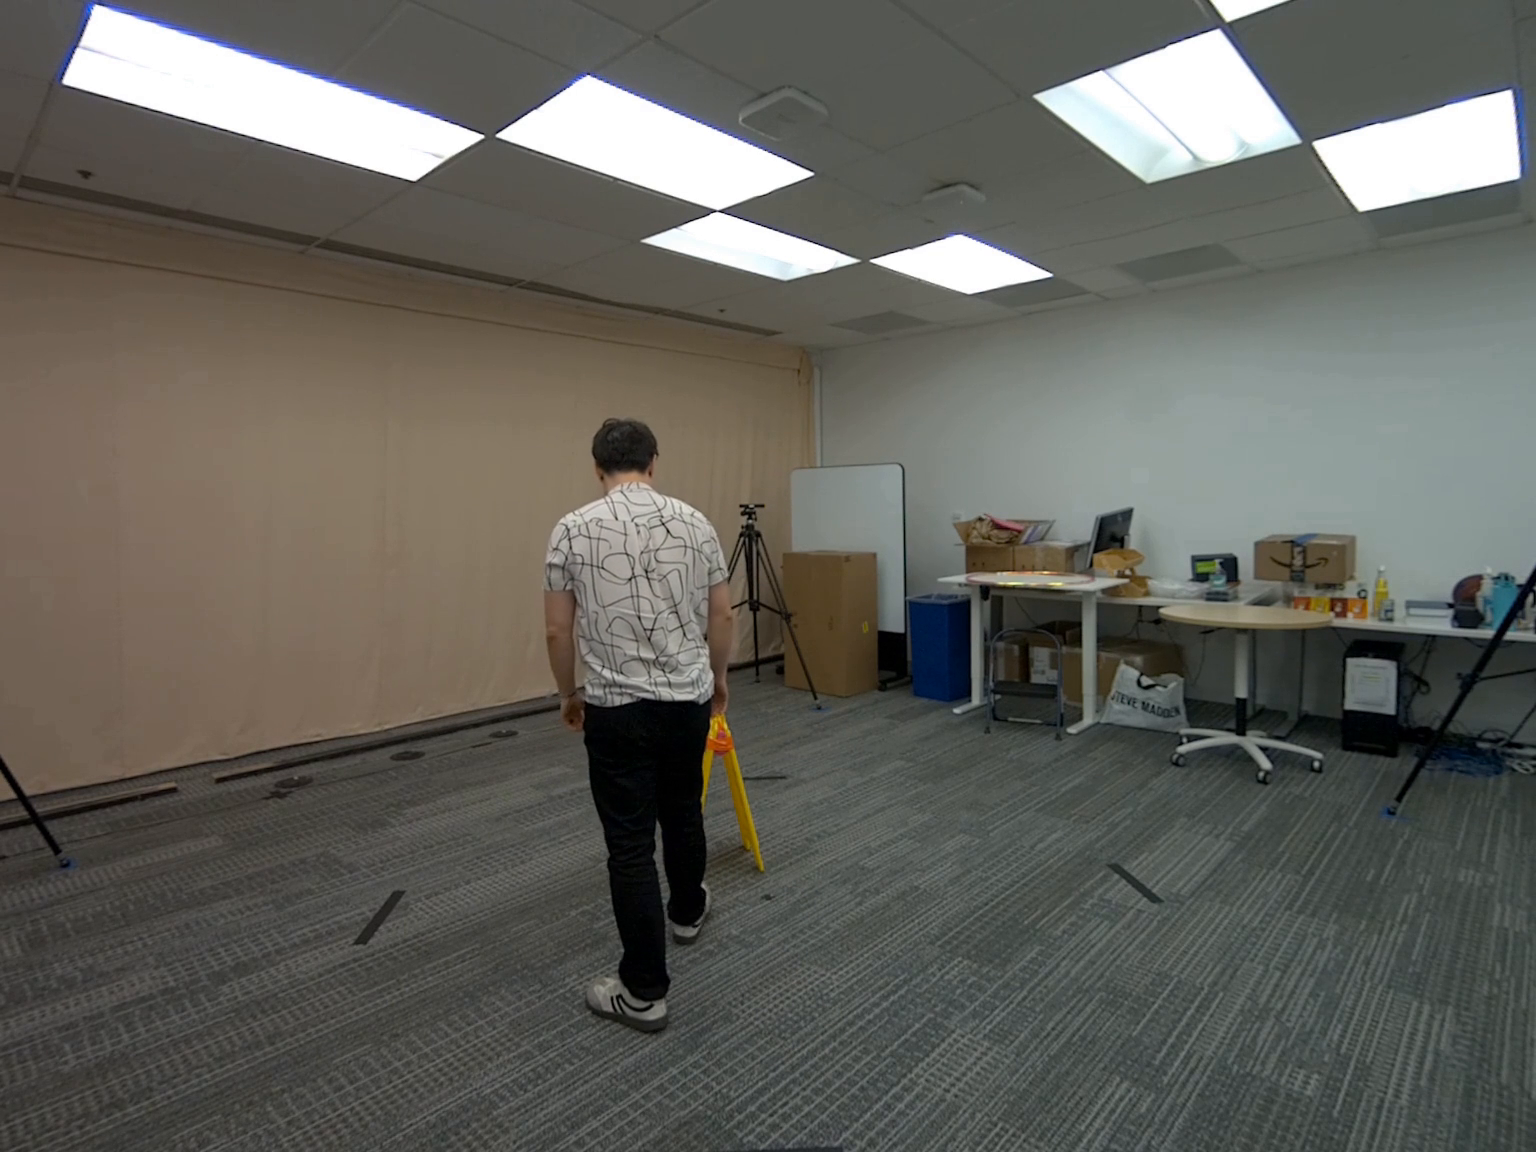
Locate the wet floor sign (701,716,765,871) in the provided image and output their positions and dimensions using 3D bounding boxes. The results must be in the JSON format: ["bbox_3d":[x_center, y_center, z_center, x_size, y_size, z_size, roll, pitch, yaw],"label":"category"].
[{"bbox_3d":[-0.196,0.794,3.273,0.286,0.645,0.286,-3,2,-13],"label":"wet floor sign"}]
